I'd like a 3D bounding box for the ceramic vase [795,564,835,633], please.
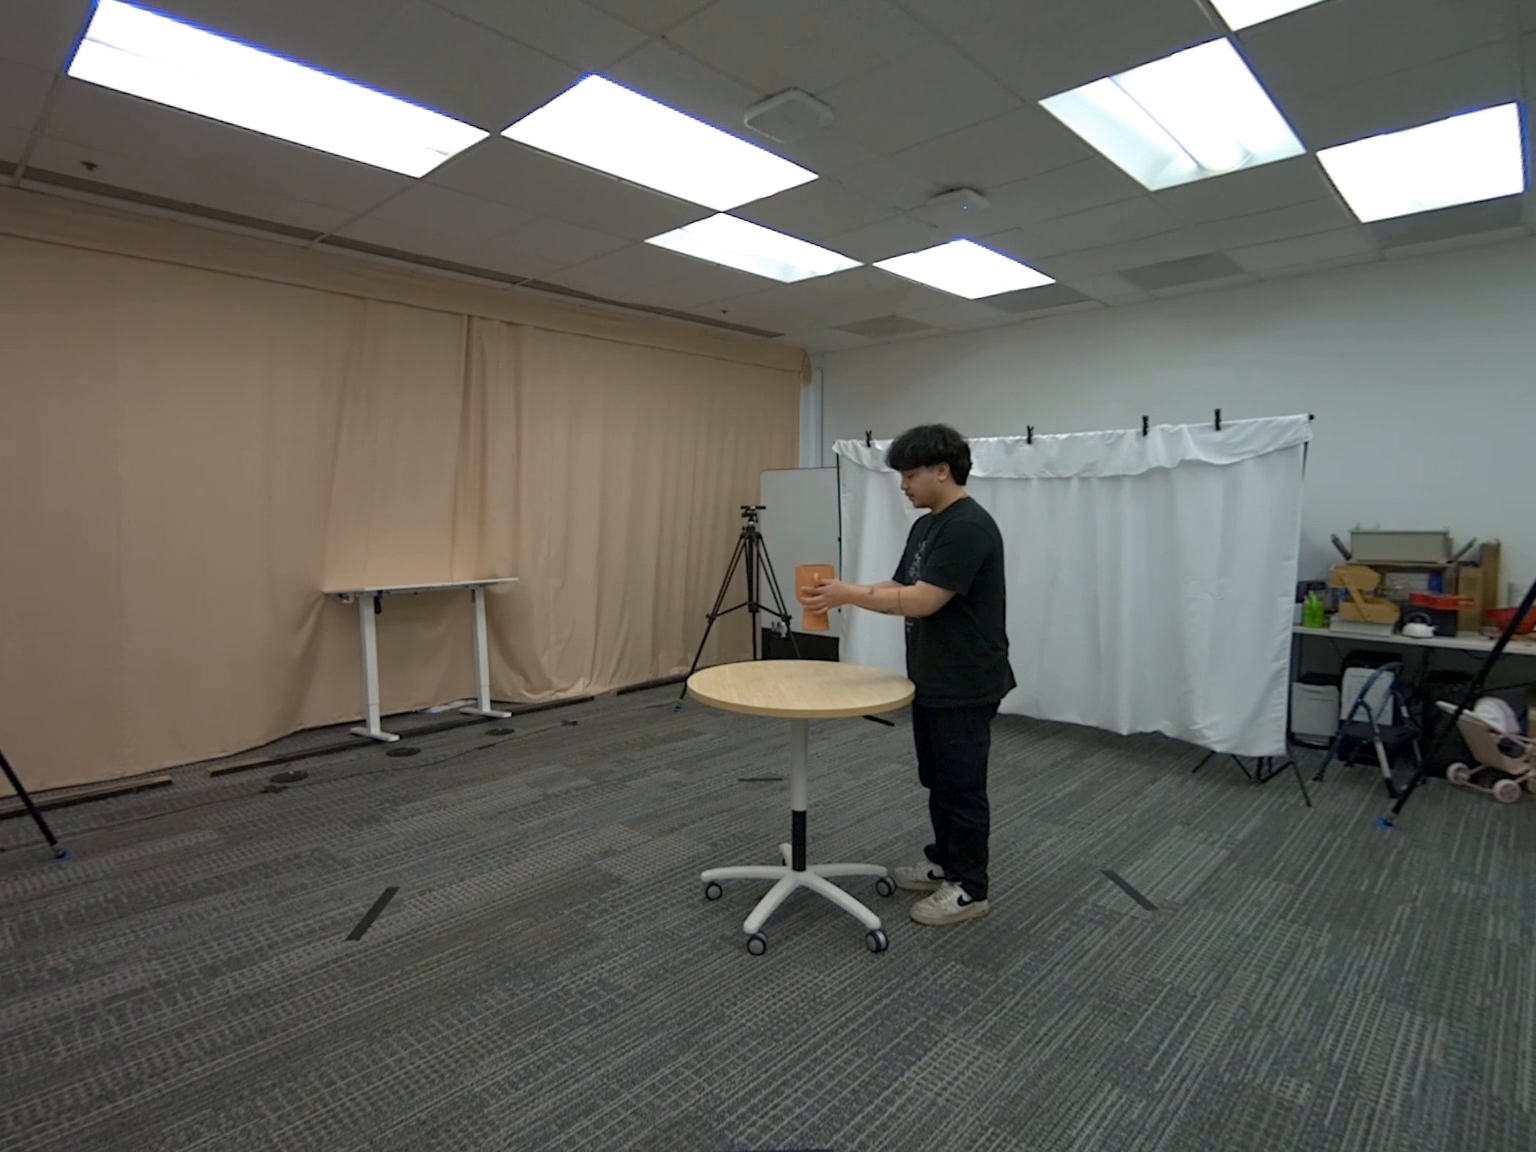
[{"bbox_3d":[0.171,0.076,2.875,0.139,0.219,0.154,1,3,40],"label":"ceramic vase"}]
